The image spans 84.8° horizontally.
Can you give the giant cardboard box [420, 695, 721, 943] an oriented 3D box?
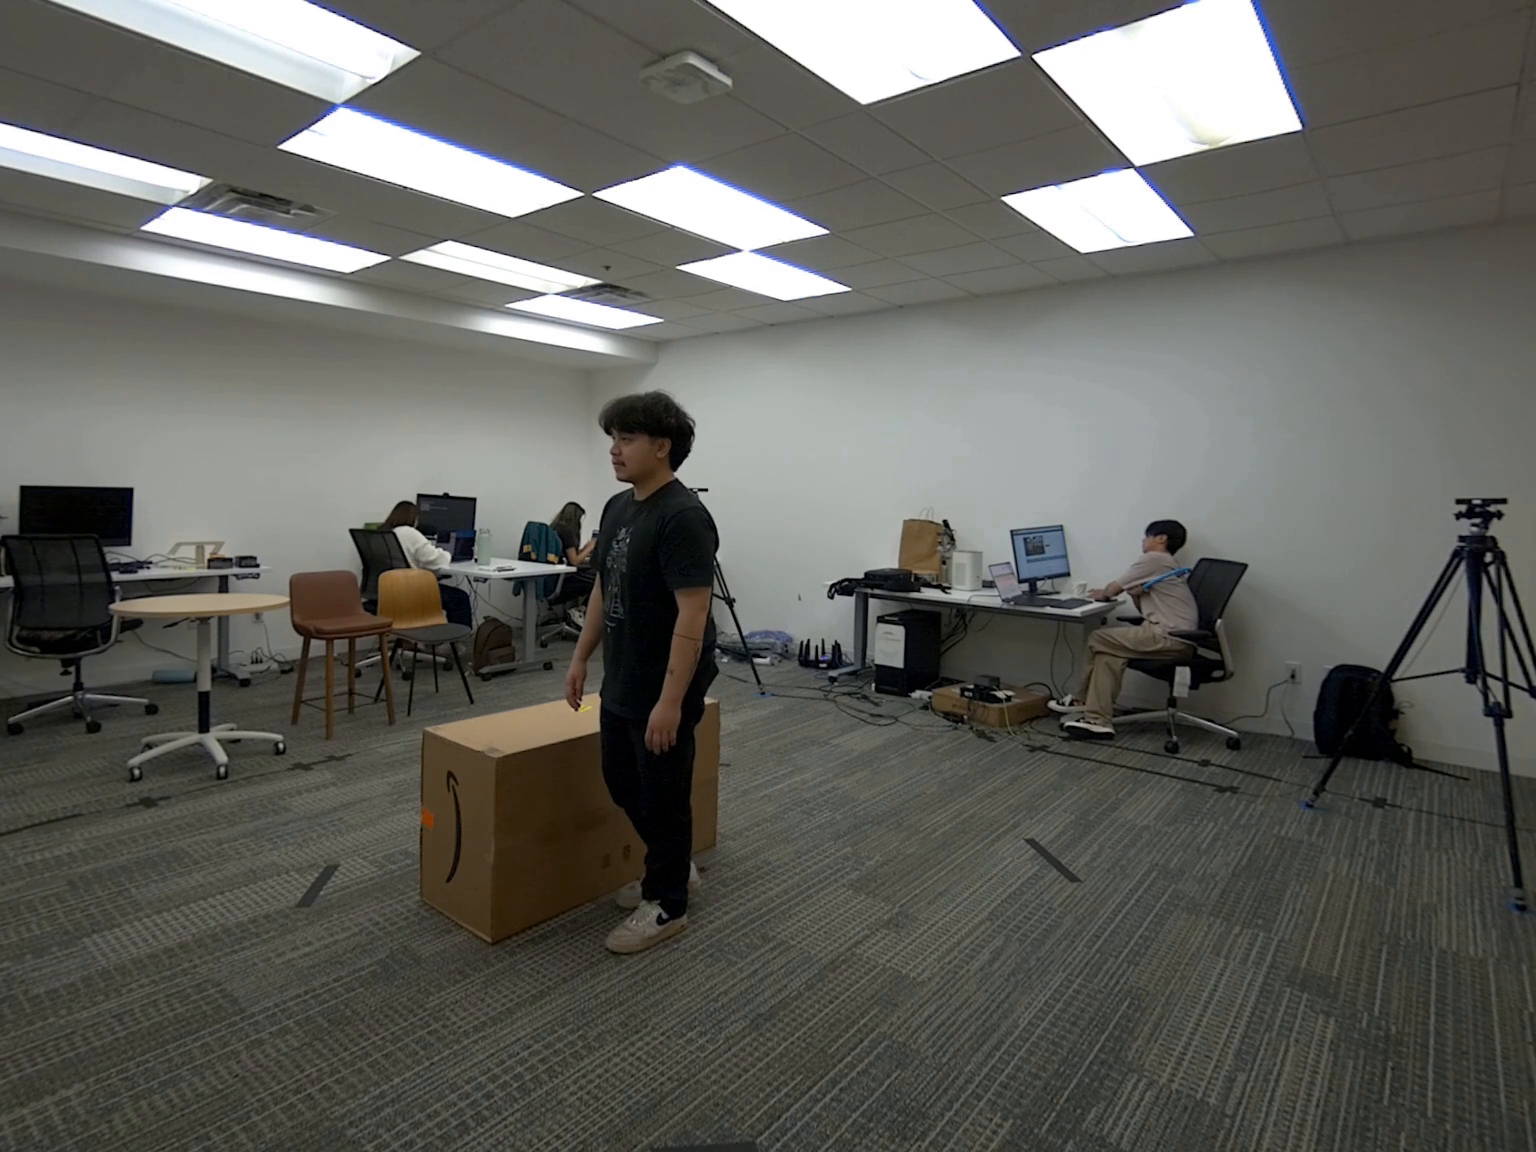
[{"bbox_3d":[-0.687,0.780,3.072,0.461,0.583,0.996,3,4,39],"label":"giant cardboard box"}]
